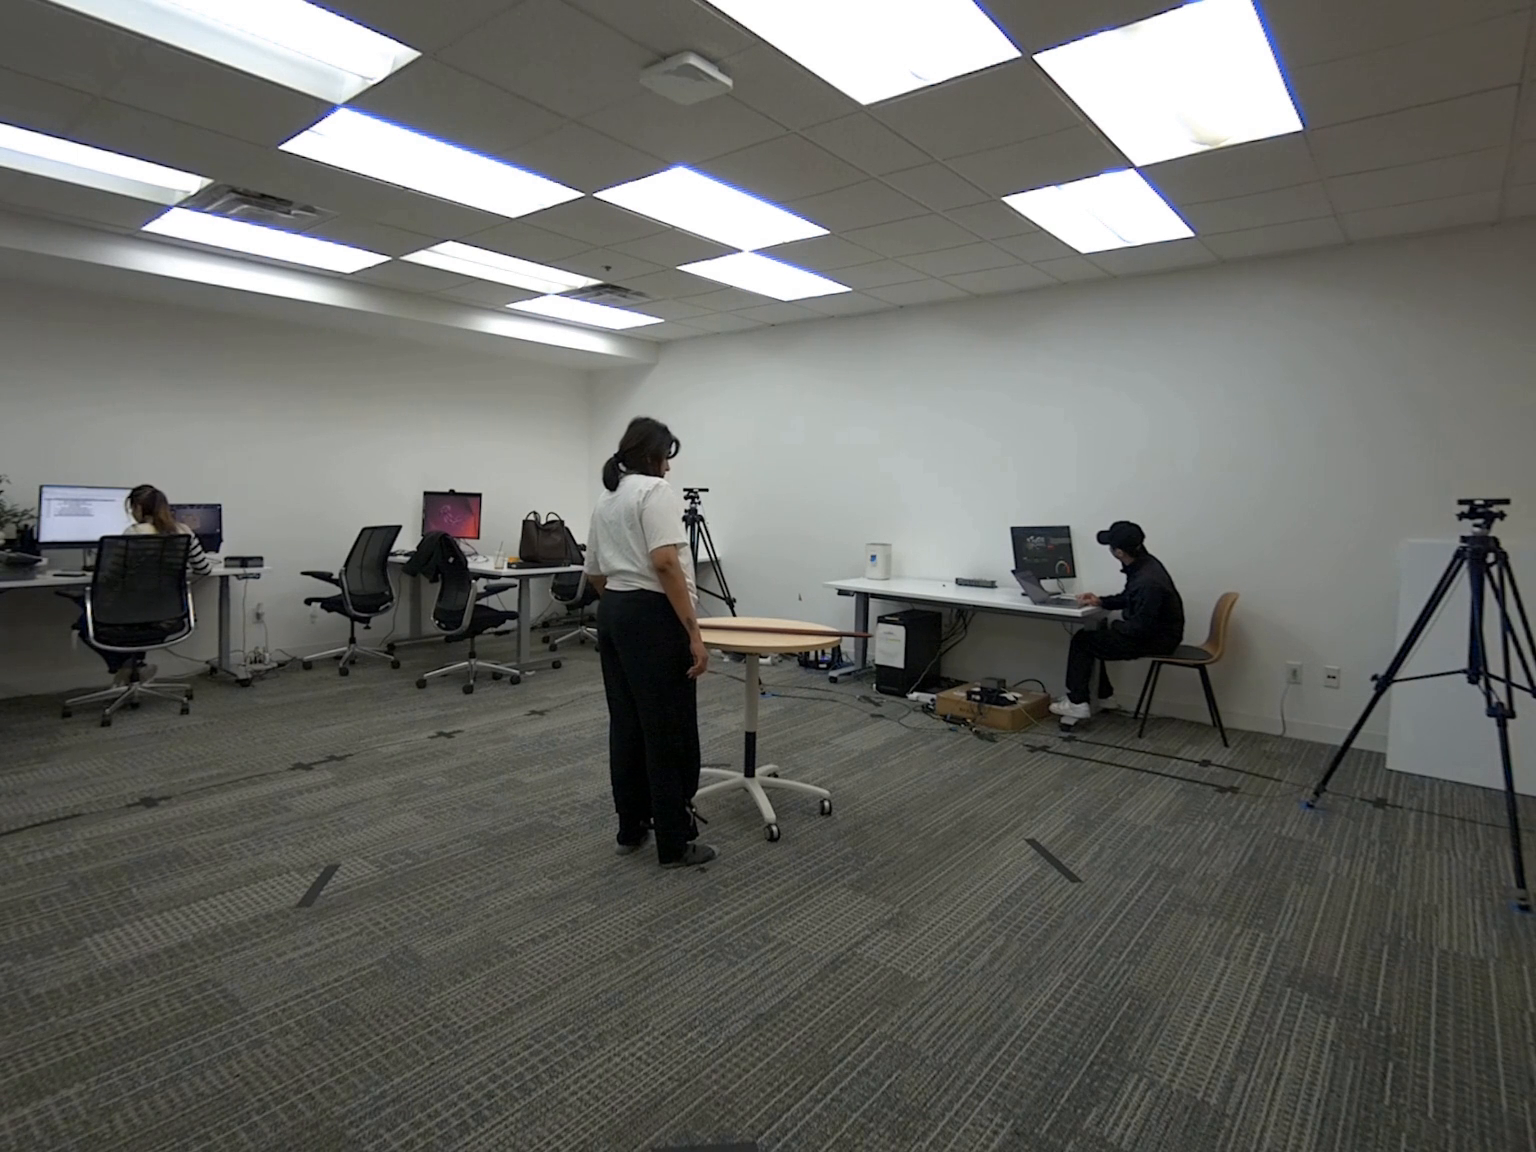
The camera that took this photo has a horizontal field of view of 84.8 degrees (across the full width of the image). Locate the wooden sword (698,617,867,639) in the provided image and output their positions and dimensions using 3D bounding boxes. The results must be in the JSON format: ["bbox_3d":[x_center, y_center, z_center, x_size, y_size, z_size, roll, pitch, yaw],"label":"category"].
[{"bbox_3d":[-0.132,0.202,3.601,1.031,0.023,0.052,3,22,6],"label":"wooden sword"}]
